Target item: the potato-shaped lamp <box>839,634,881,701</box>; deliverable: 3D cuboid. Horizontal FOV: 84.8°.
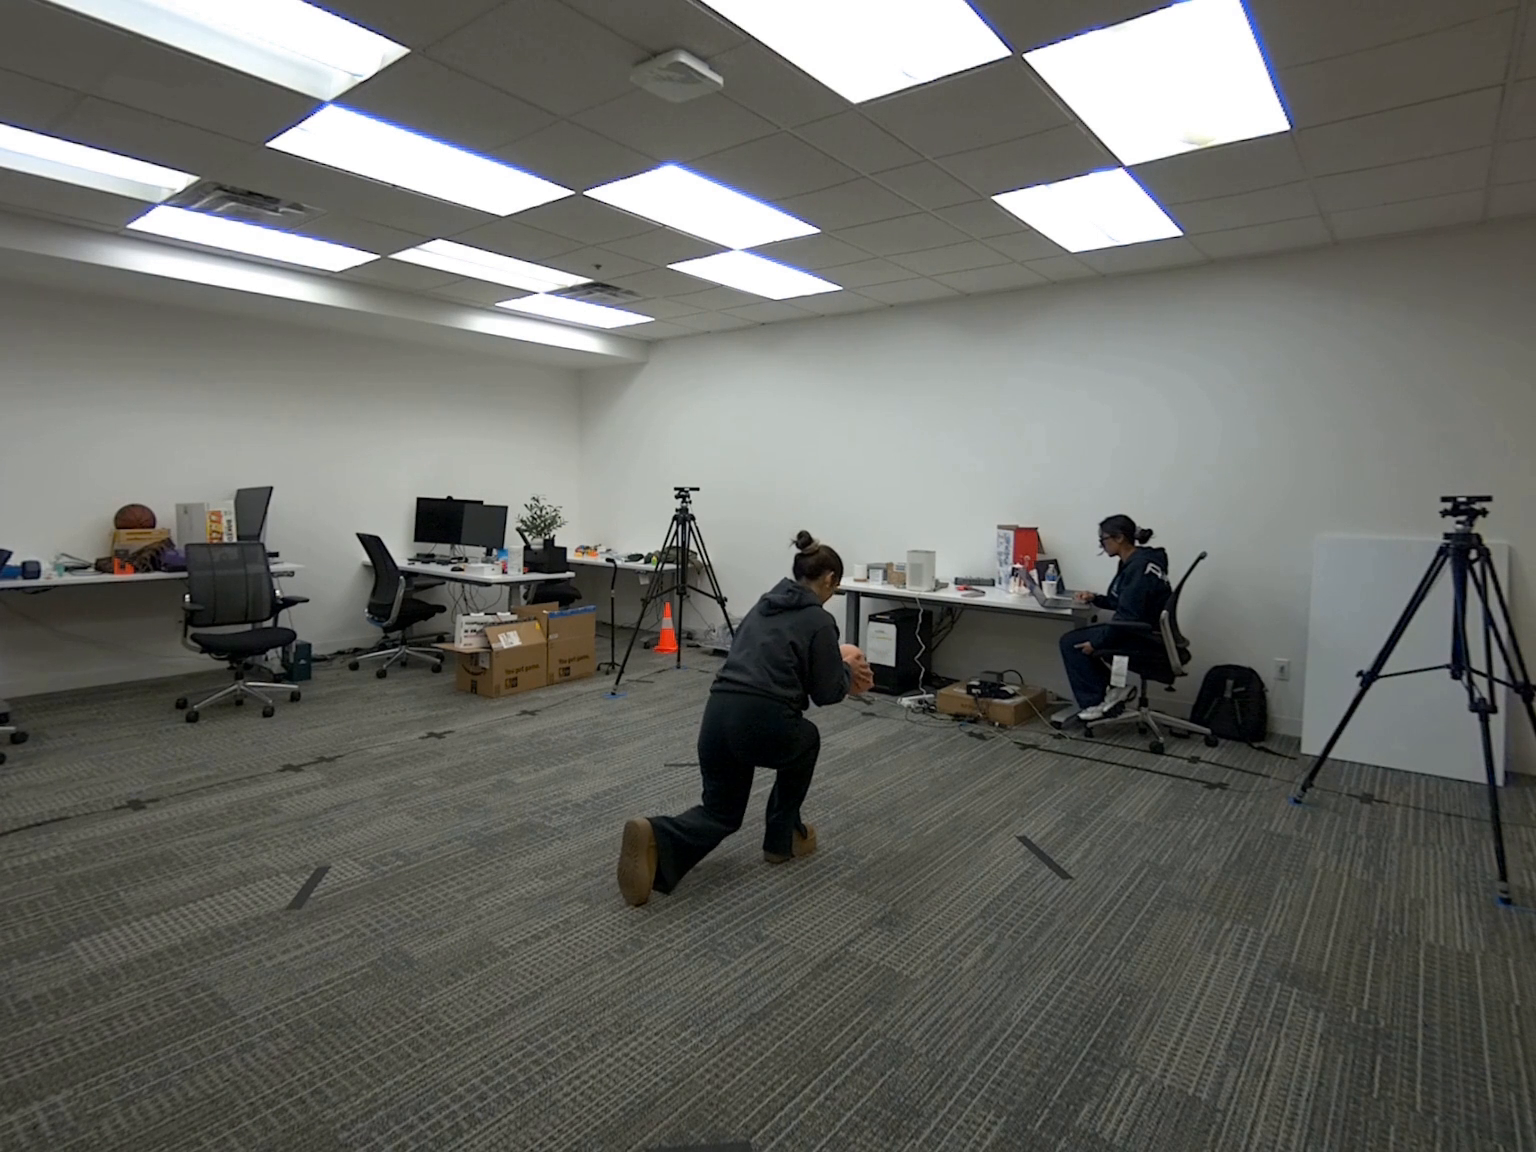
[{"bbox_3d":[0.325,0.365,3.420,0.168,0.196,0.170,-16,14,-38],"label":"potato-shaped lamp"}]
